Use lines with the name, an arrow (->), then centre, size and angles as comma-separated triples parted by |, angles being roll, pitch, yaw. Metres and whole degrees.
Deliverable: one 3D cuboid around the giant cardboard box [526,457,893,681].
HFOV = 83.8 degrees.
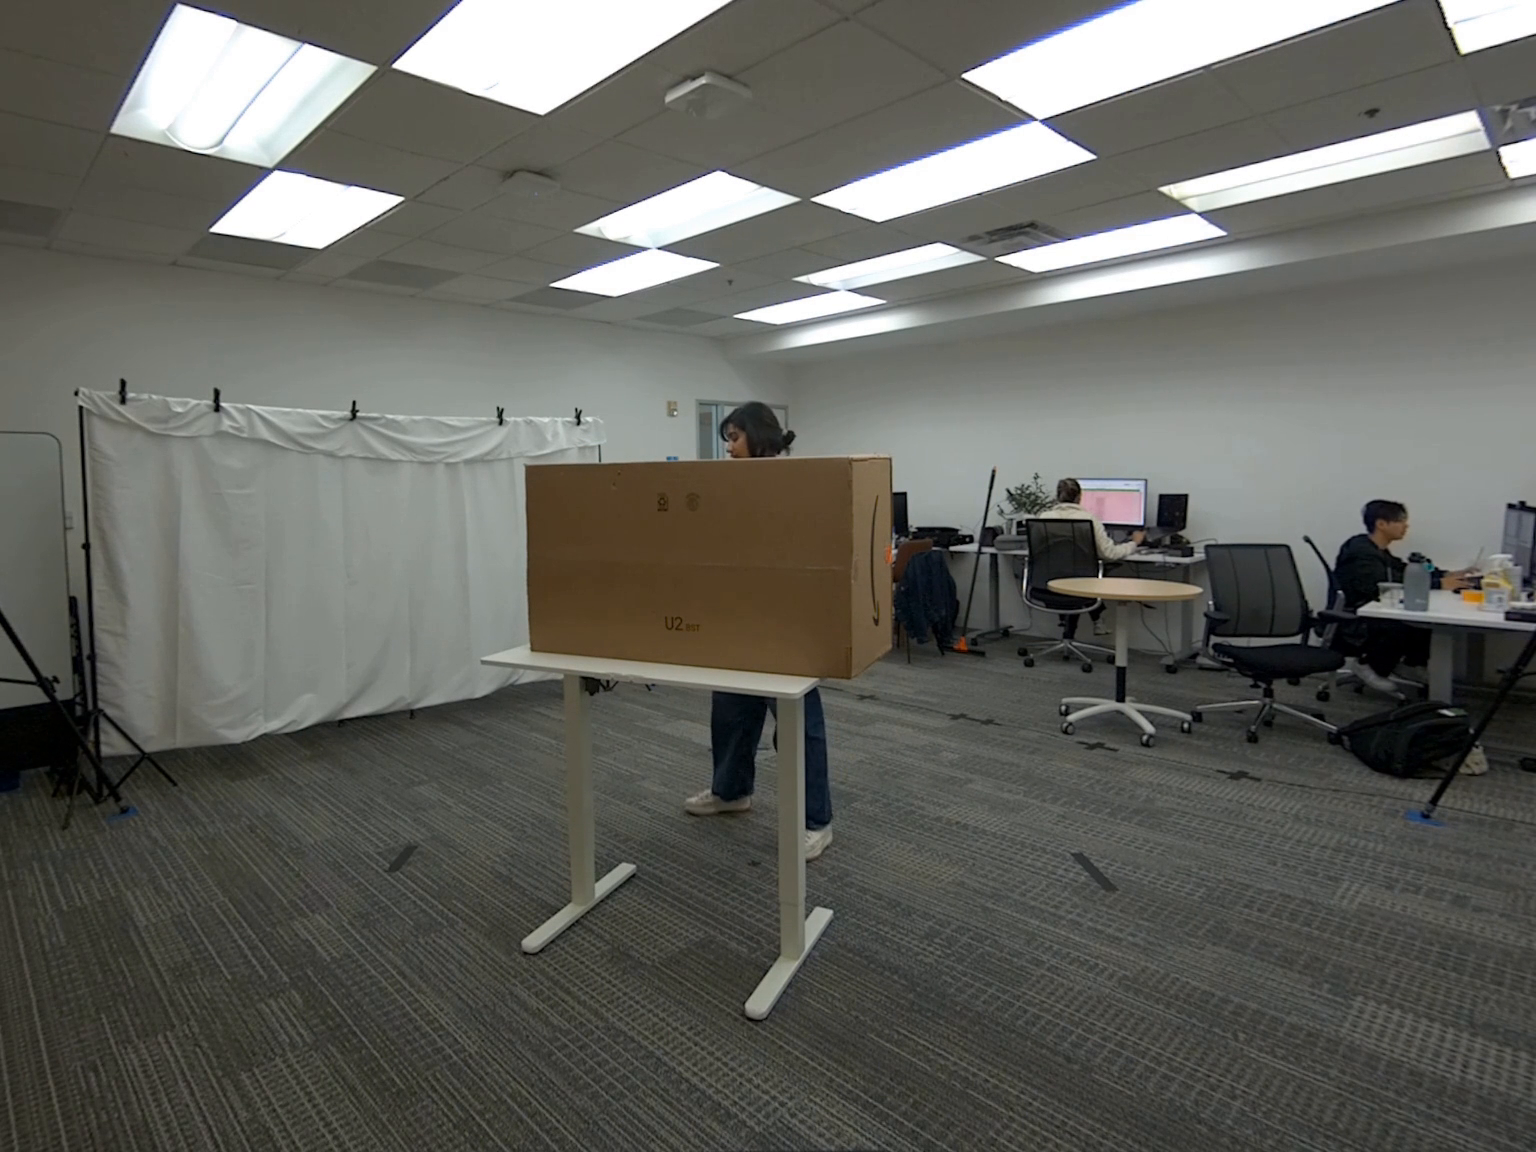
giant cardboard box -> -0.186, -0.057, 2.567 | 1.049, 0.575, 0.418 | 2, 5, 24
